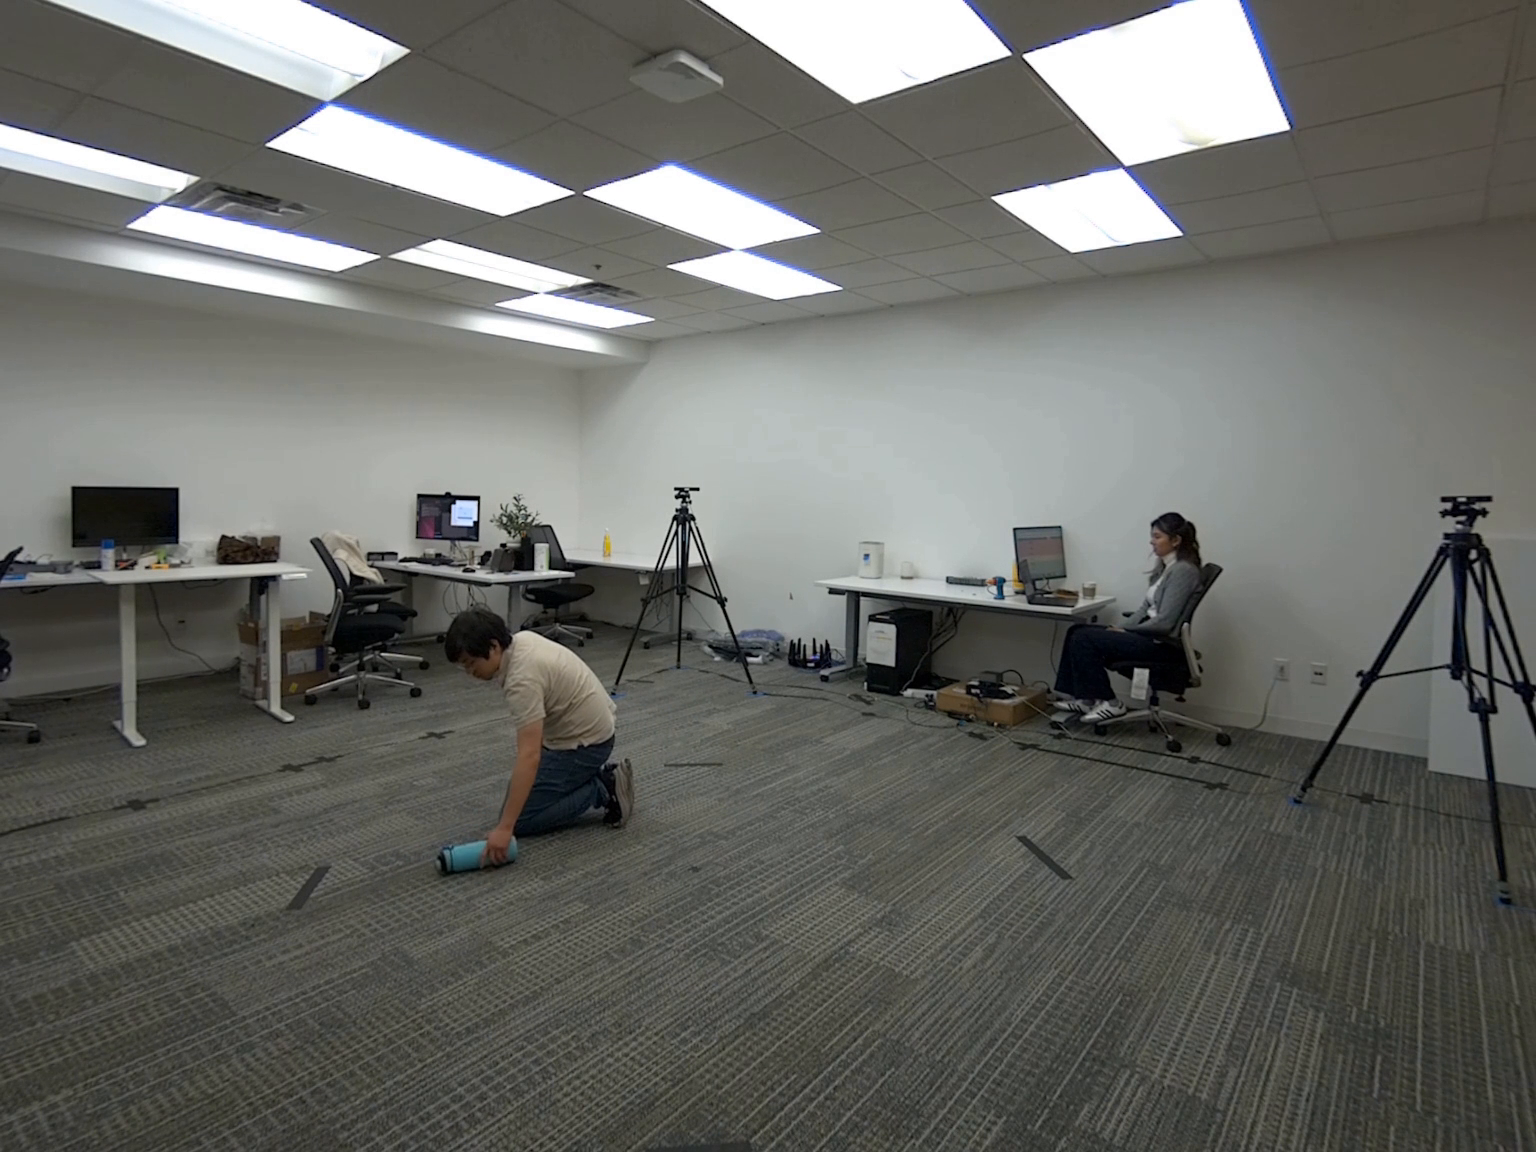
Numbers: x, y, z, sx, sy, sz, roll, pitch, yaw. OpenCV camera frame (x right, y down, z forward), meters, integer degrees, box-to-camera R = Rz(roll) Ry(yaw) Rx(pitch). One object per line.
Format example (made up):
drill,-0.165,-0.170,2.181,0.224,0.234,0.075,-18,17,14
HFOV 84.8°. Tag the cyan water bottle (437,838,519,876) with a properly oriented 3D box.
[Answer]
cyan water bottle,-1.074,1.007,3.089,0.277,0.092,0.095,-2,5,-24
